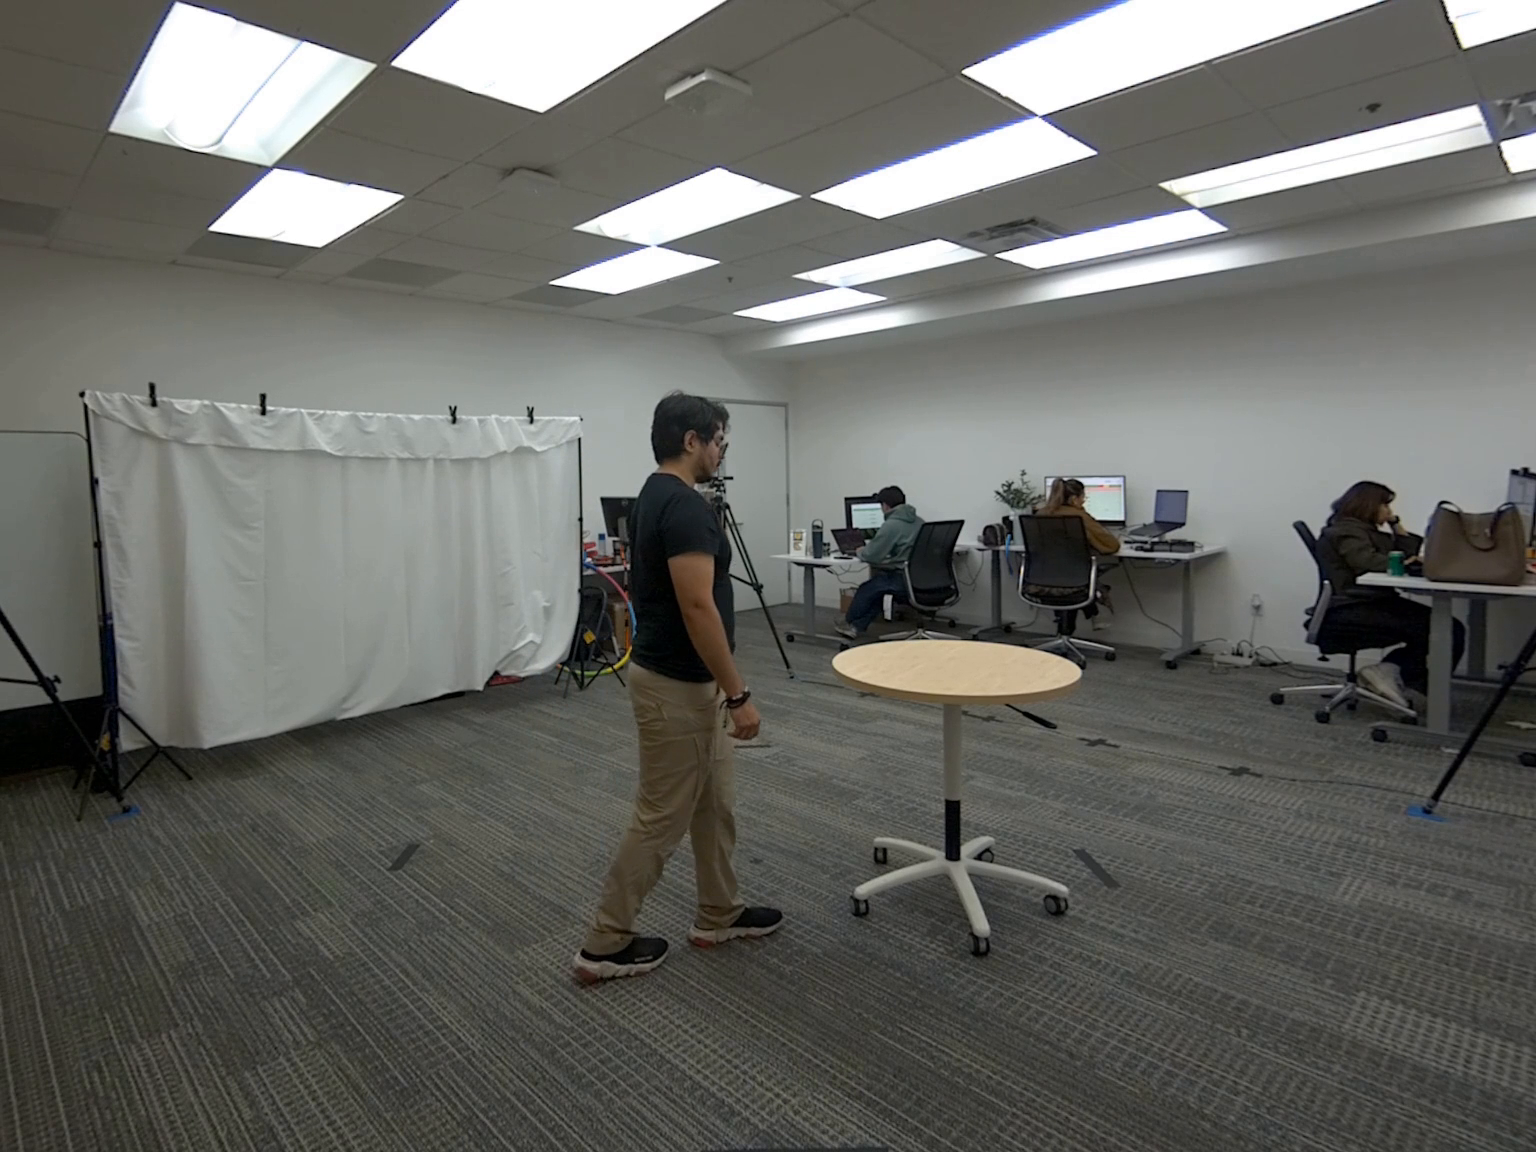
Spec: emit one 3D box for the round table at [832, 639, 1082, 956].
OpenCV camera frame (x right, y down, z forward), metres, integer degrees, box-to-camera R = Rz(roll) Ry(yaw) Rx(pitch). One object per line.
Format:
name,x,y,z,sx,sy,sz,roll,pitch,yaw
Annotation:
round table,0.610,0.671,2.764,0.784,0.783,0.789,-1,5,-2
